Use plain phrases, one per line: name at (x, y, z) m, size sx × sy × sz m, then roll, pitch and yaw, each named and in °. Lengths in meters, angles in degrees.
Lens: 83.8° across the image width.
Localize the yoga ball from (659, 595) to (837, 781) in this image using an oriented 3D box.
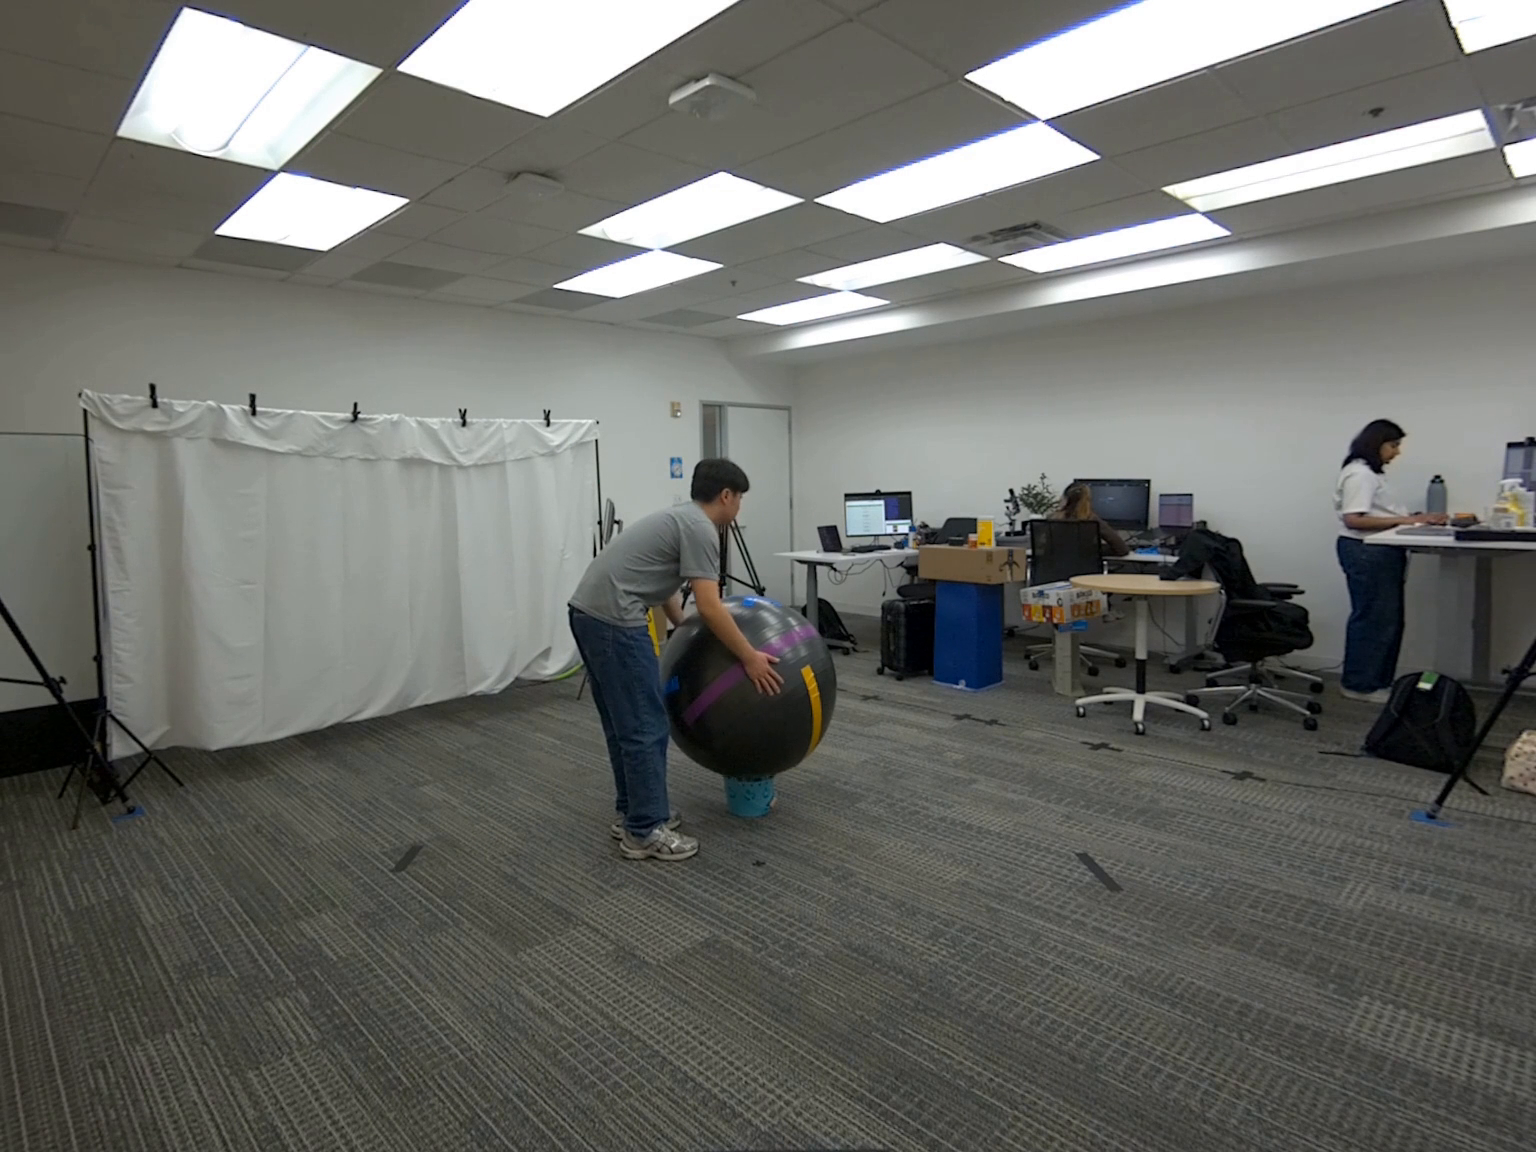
yoga ball at (-0.089, 0.458, 3.607) m, size 0.757 × 0.755 × 0.762 m, roll -1°, pitch 5°, yaw -2°
